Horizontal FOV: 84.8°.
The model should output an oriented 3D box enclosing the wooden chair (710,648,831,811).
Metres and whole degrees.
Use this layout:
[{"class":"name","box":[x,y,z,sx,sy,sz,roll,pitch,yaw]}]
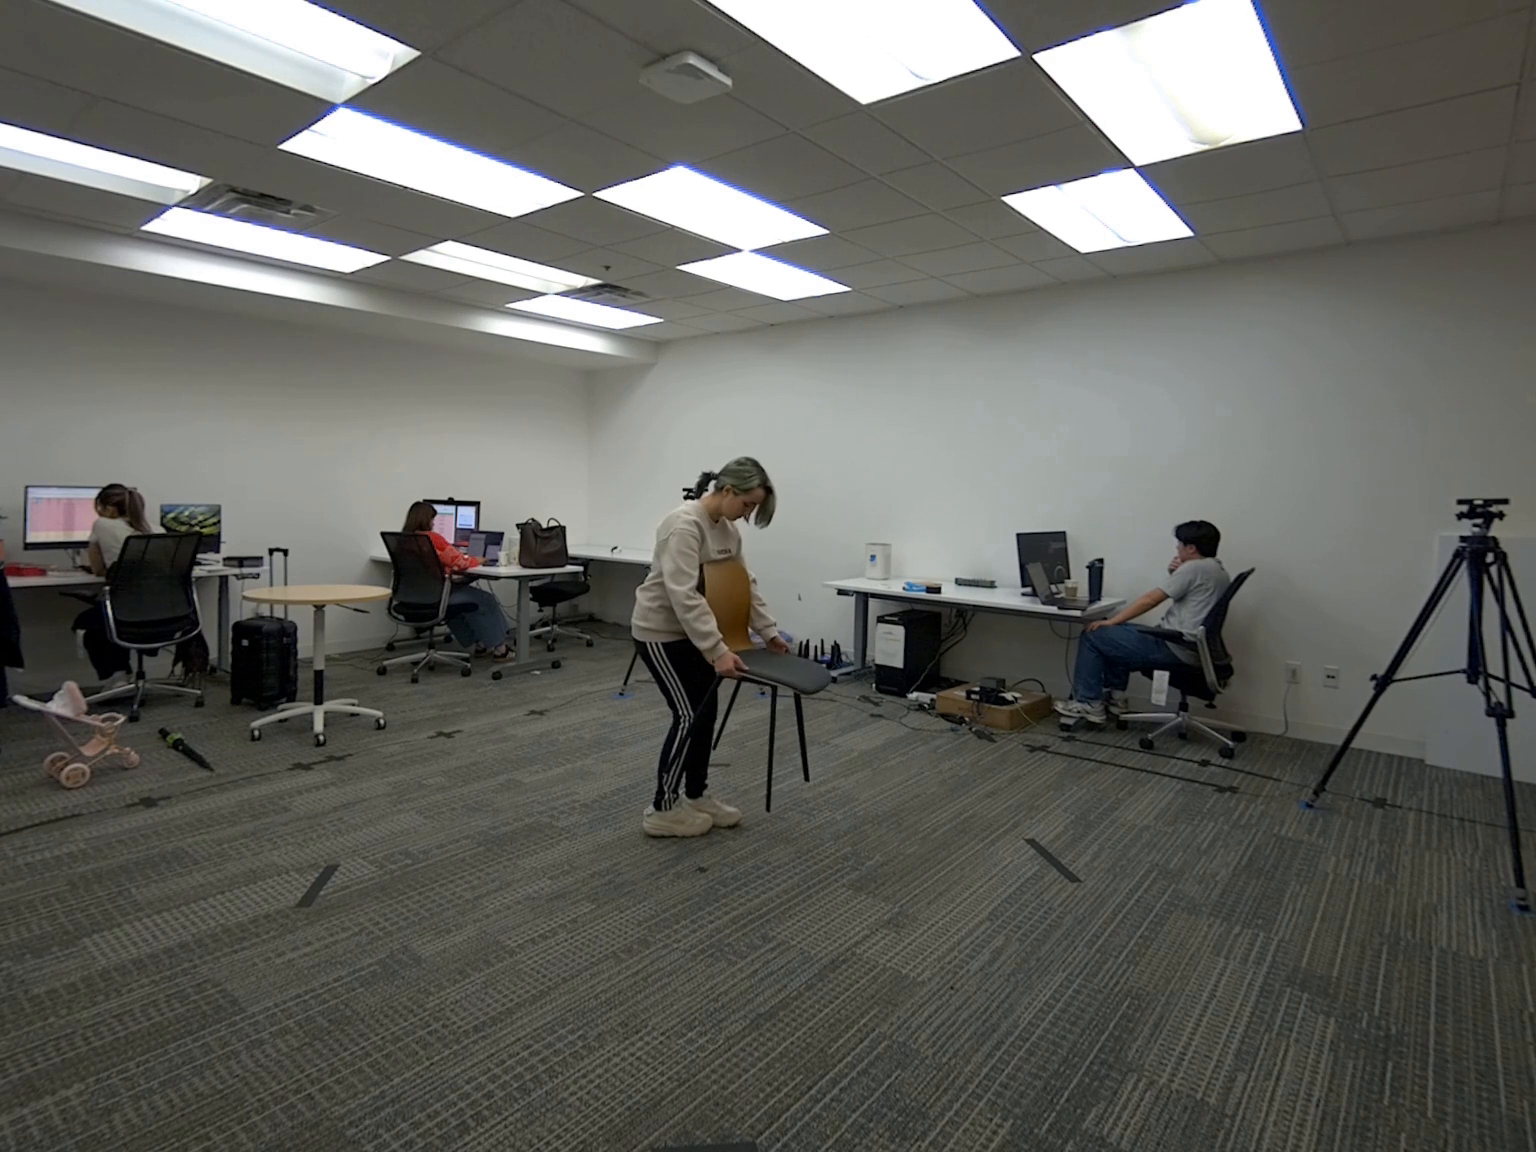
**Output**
[{"class":"wooden chair","box":[-0.038,0.403,3.380,0.537,0.875,0.467,7,3,23]}]
